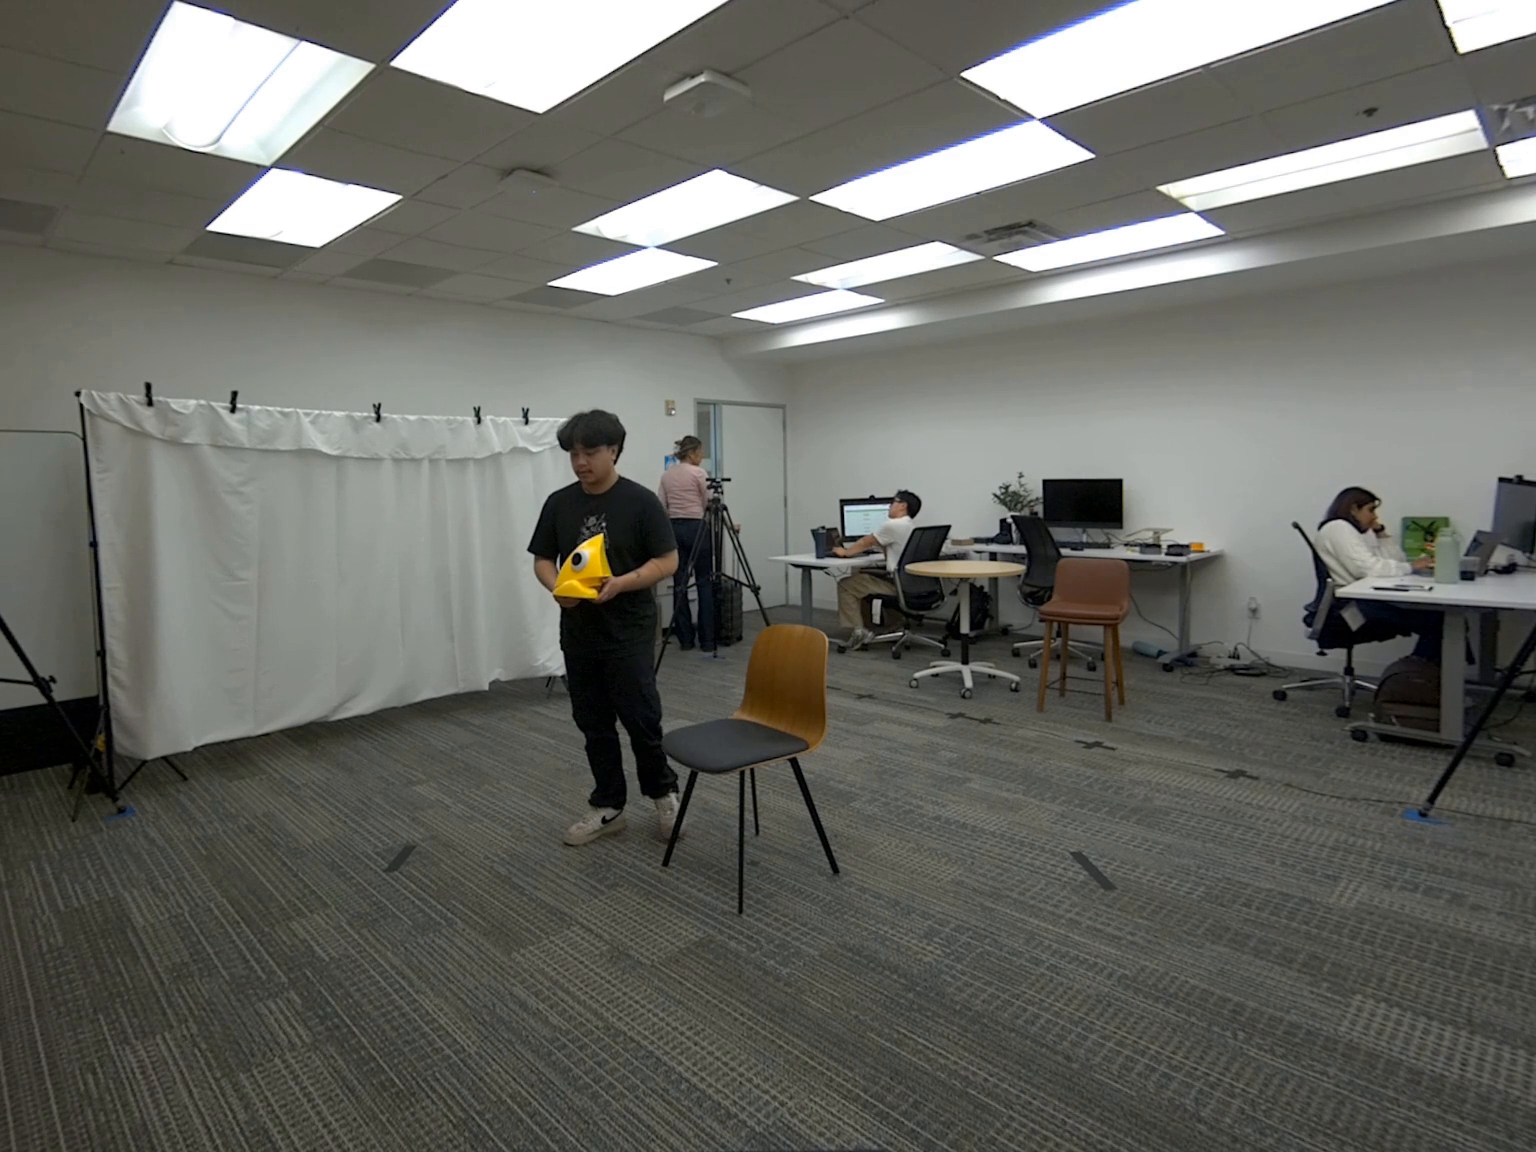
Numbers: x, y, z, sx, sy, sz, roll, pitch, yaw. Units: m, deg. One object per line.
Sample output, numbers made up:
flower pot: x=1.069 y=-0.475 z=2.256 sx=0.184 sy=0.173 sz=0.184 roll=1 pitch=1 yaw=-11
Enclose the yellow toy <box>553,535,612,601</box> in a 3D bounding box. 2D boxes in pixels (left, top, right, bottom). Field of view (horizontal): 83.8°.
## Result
yellow toy: x=-0.657 y=-0.041 z=3.068 sx=0.193 sy=0.231 sz=0.204 roll=5 pitch=-2 yaw=1
